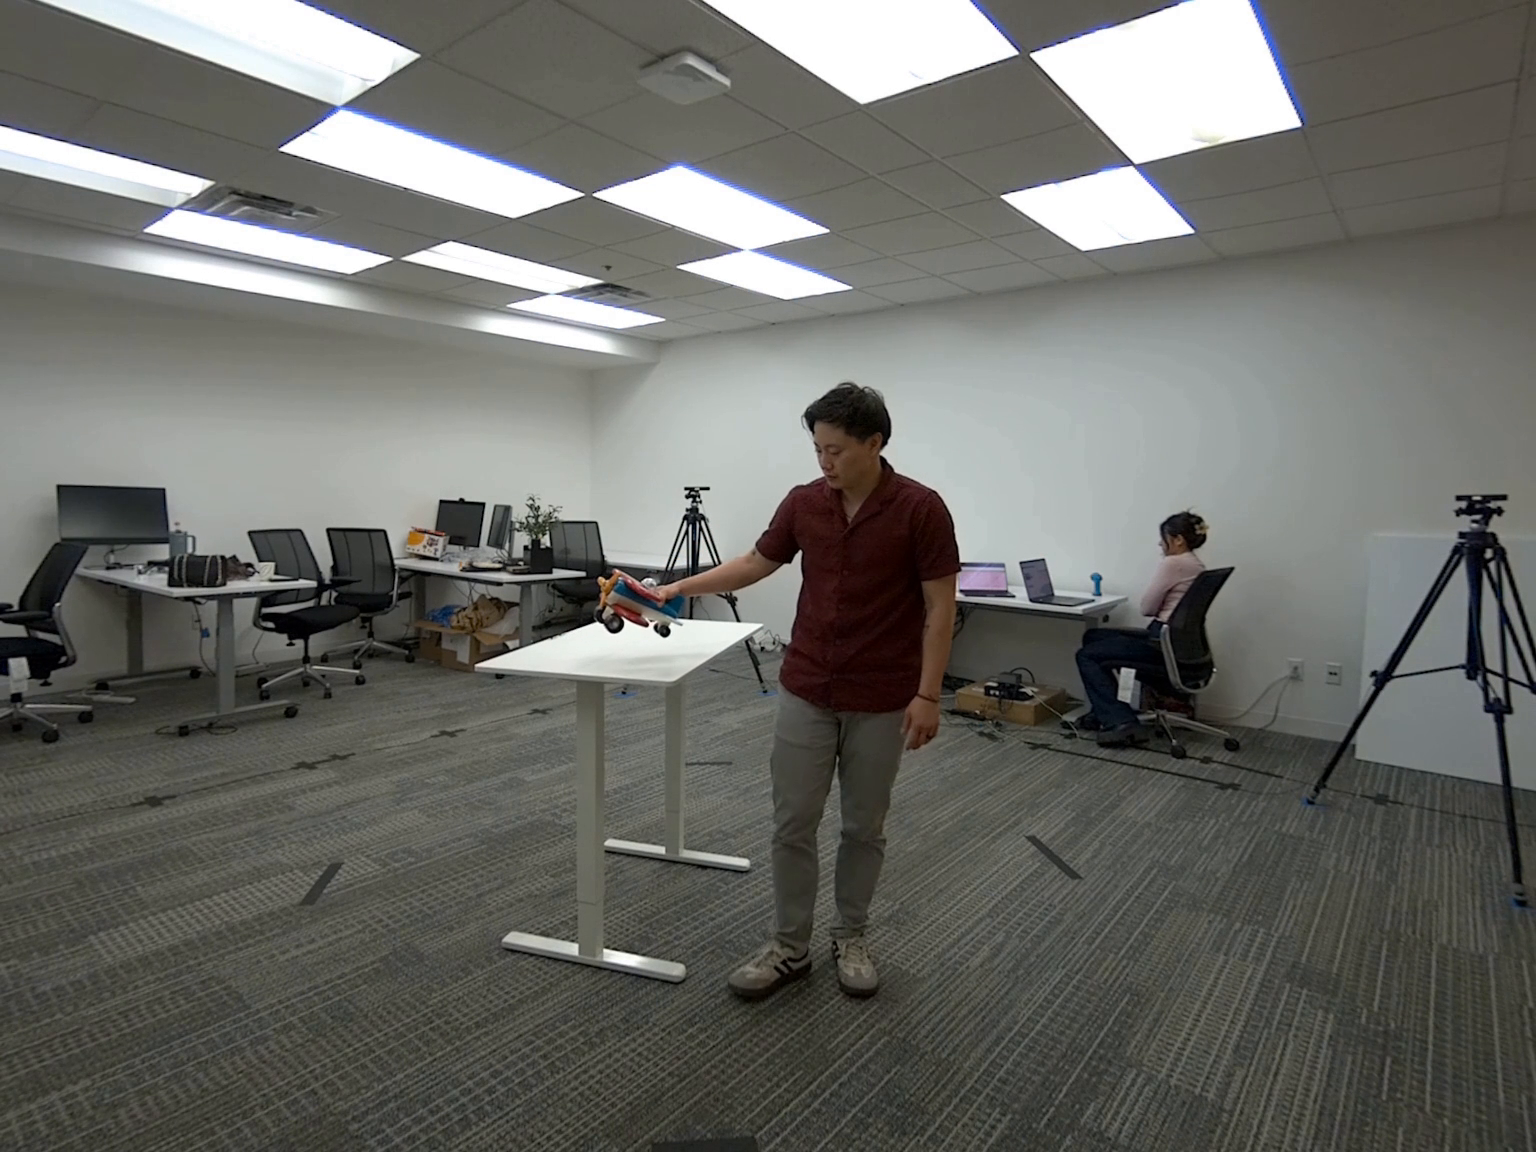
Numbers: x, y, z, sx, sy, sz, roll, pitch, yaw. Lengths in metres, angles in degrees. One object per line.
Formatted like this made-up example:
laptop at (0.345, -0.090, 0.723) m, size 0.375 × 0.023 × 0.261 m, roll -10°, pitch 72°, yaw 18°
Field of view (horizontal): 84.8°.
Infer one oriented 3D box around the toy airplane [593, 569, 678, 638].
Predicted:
toy airplane at (-0.394, 0.081, 2.462) m, size 0.260 × 0.156 × 0.251 m, roll 18°, pitch 7°, yaw 29°
